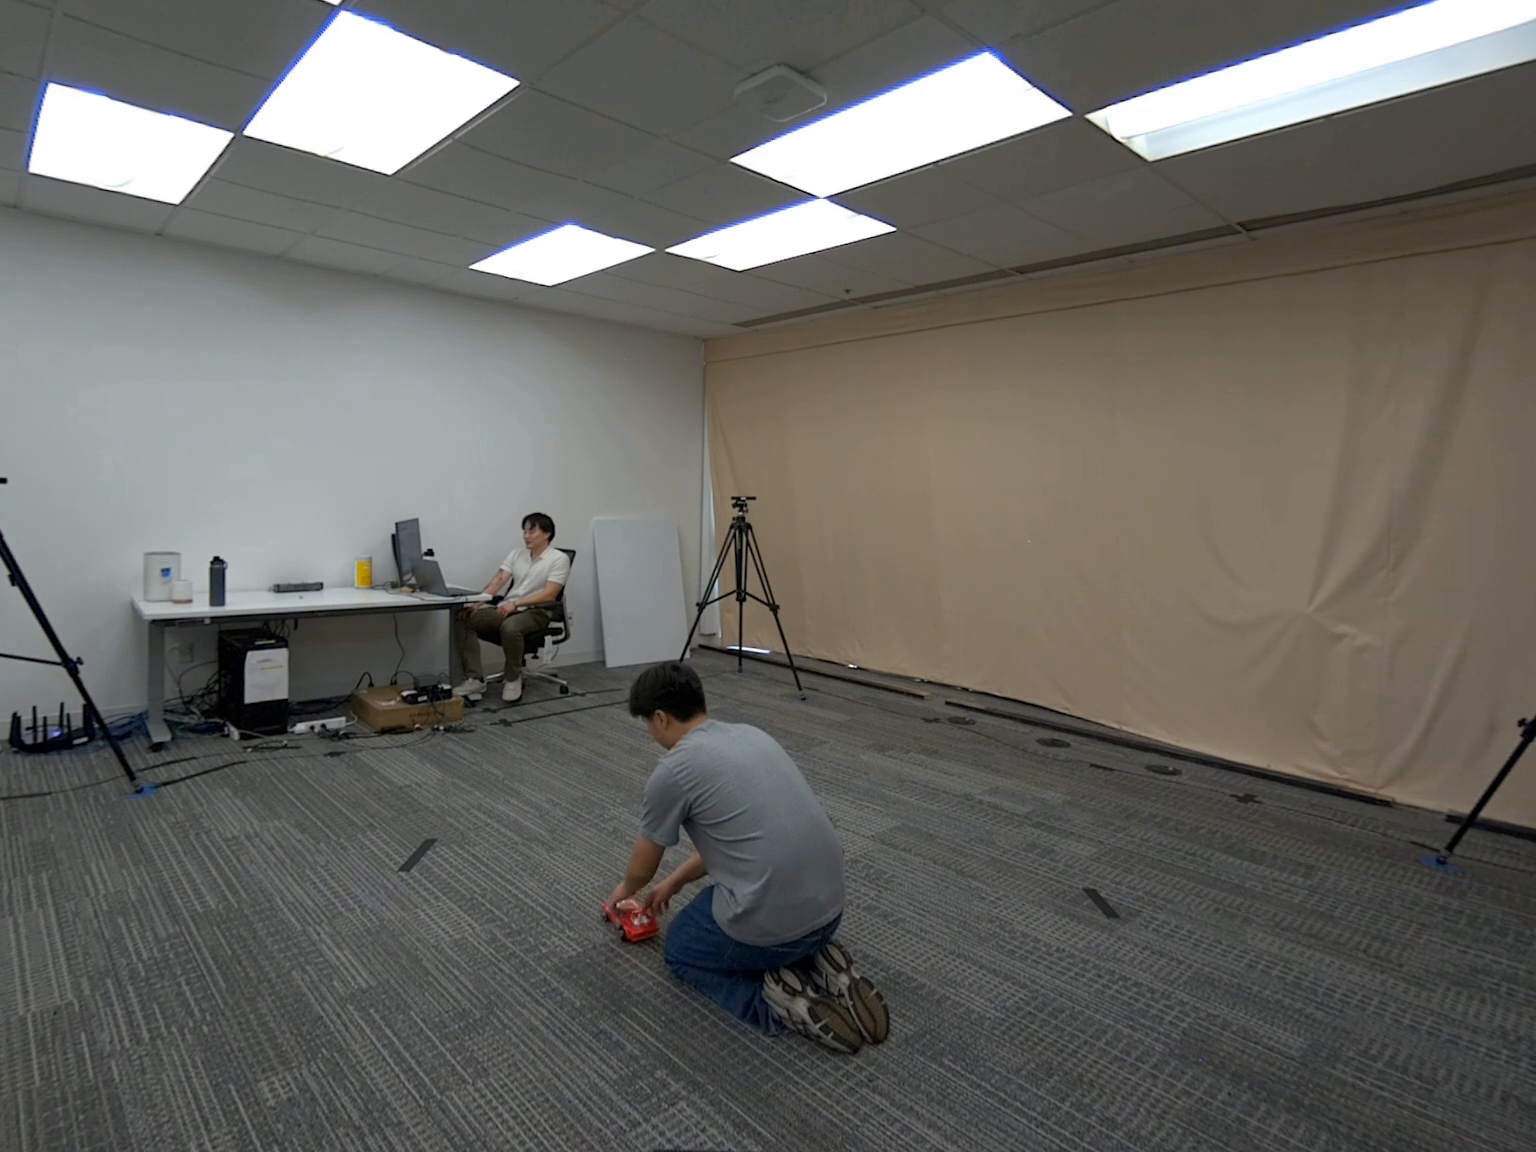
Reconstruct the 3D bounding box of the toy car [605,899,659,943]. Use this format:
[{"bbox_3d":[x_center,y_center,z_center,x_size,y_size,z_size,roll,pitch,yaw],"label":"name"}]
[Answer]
[{"bbox_3d":[-0.446,1.107,2.693,0.128,0.083,0.259,-1,-5,-30],"label":"toy car"}]
